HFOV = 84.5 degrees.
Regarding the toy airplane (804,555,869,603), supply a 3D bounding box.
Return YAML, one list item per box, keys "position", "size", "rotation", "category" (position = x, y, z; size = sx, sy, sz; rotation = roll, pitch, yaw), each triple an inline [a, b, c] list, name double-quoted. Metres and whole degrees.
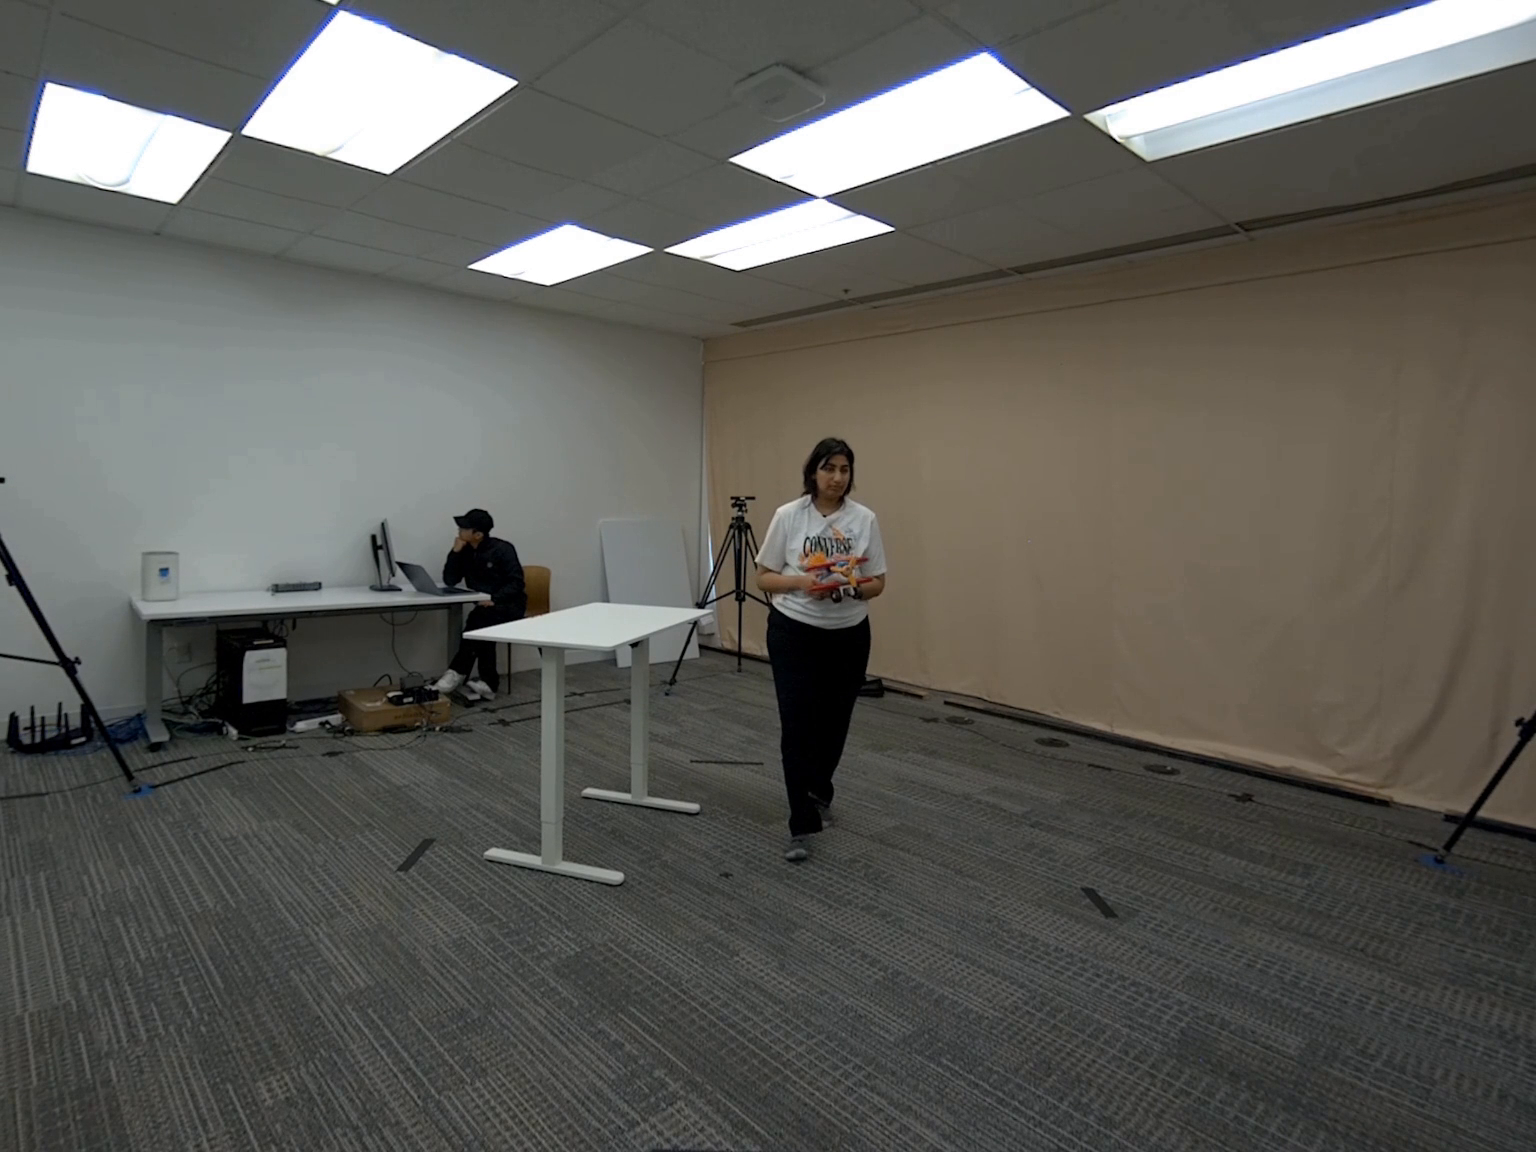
- position: [0.229, 0.015, 3.214]
  size: [0.265, 0.156, 0.246]
  rotation: [-4, 6, 45]
  category: "toy airplane"
